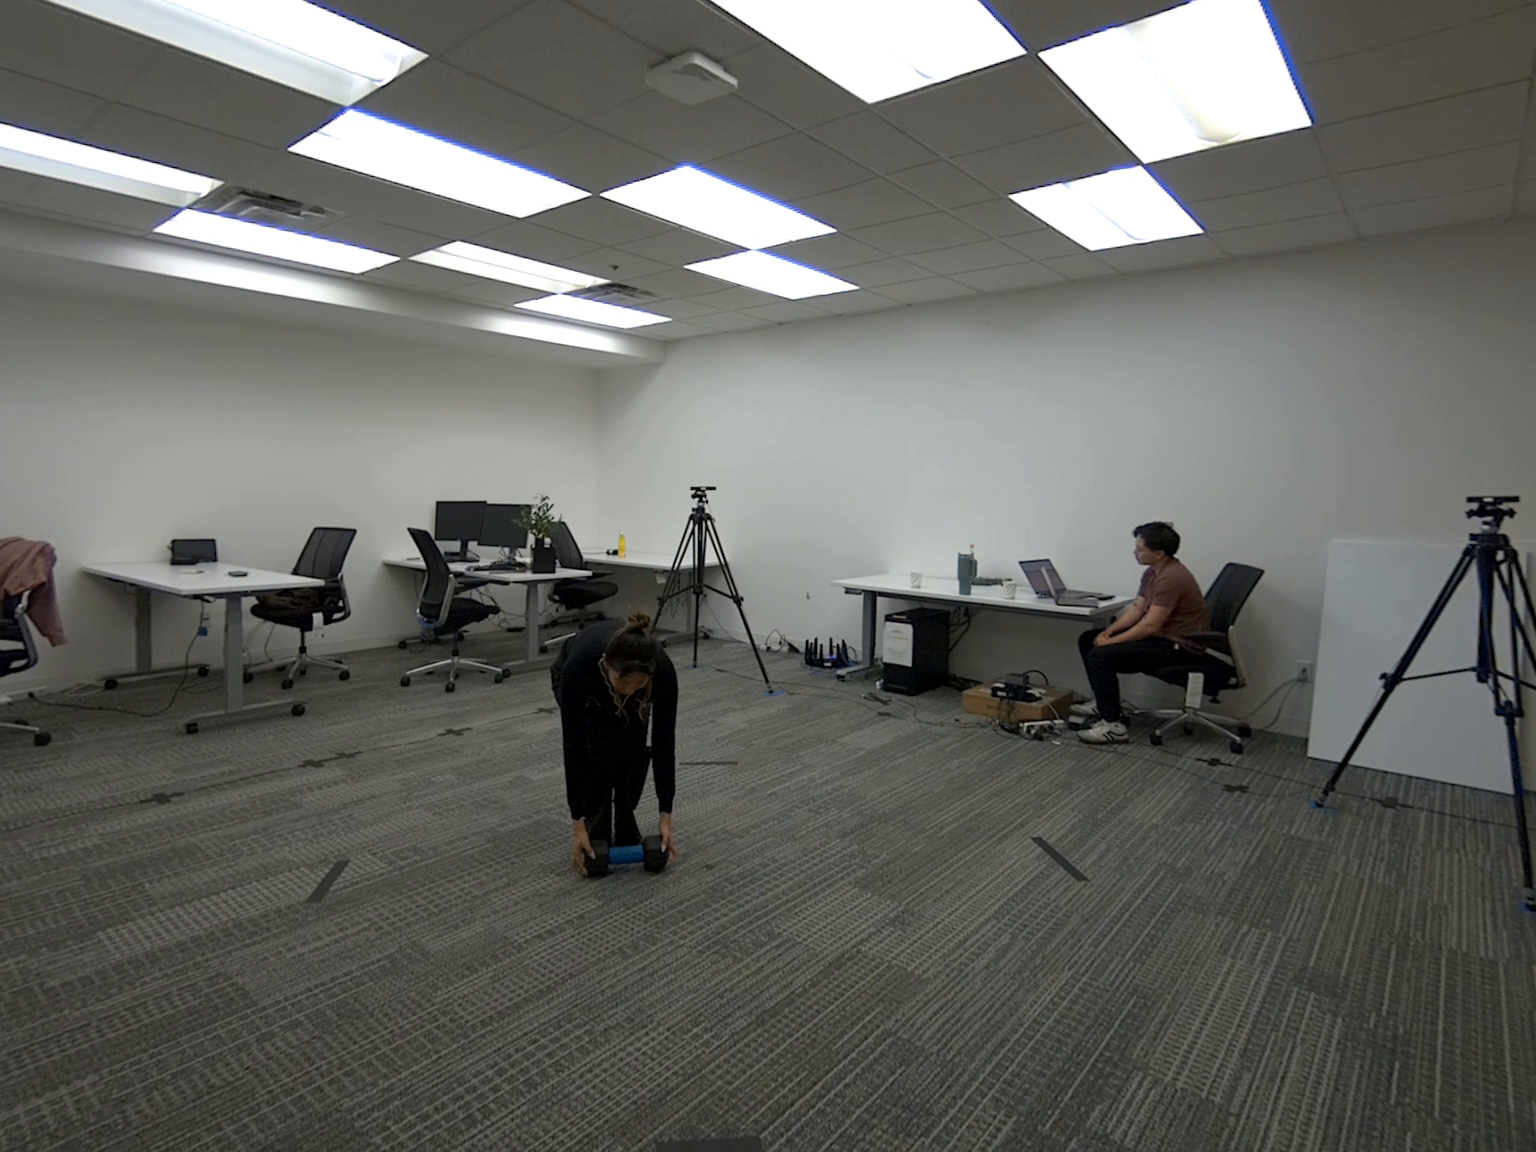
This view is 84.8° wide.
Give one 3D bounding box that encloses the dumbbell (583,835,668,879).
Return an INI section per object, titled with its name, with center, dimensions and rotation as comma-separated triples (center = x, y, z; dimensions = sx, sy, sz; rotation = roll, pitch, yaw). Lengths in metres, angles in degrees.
[dumbbell]
center = -0.530, 1.009, 3.073
dimensions = 0.291, 0.123, 0.109
rotation = -2, -1, -9
